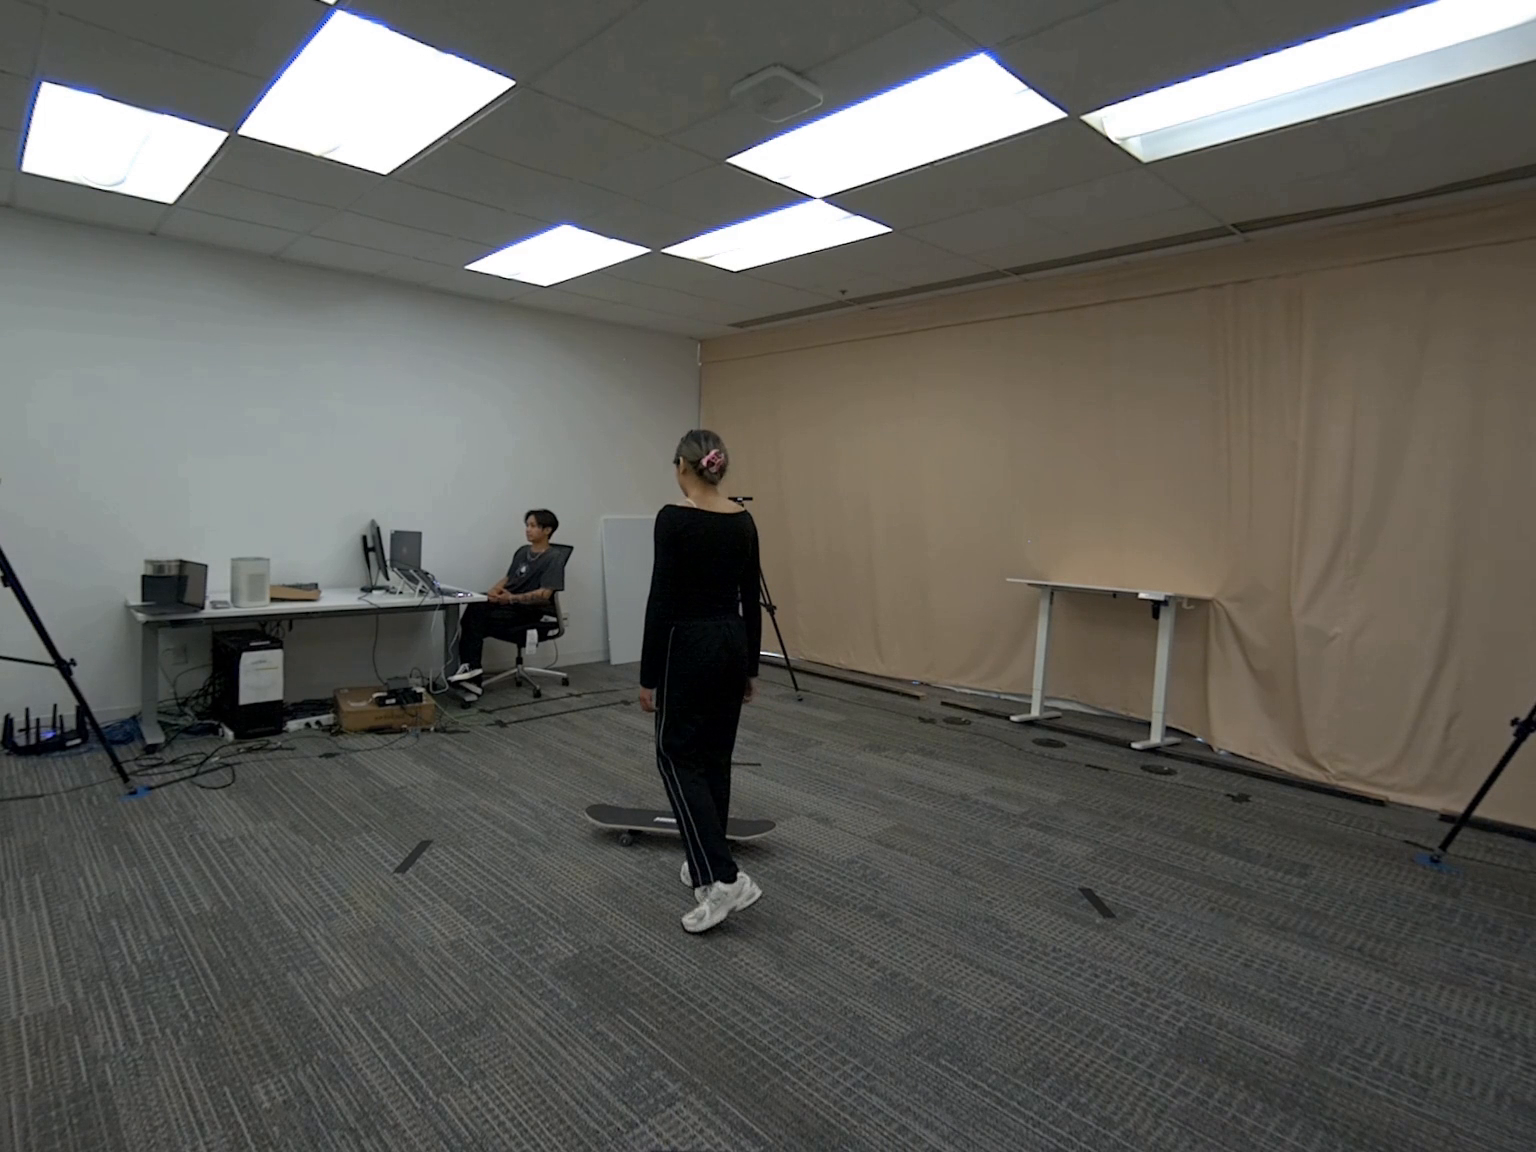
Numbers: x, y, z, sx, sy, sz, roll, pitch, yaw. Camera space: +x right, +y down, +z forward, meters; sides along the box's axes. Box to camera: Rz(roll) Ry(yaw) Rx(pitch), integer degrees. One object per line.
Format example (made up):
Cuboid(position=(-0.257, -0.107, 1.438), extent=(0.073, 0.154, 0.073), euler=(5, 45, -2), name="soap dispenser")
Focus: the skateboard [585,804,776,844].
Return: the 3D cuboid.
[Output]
Cuboid(position=(-0.362, 1.016, 3.388), extent=(0.793, 0.110, 0.192), euler=(3, 4, 11), name="skateboard")
